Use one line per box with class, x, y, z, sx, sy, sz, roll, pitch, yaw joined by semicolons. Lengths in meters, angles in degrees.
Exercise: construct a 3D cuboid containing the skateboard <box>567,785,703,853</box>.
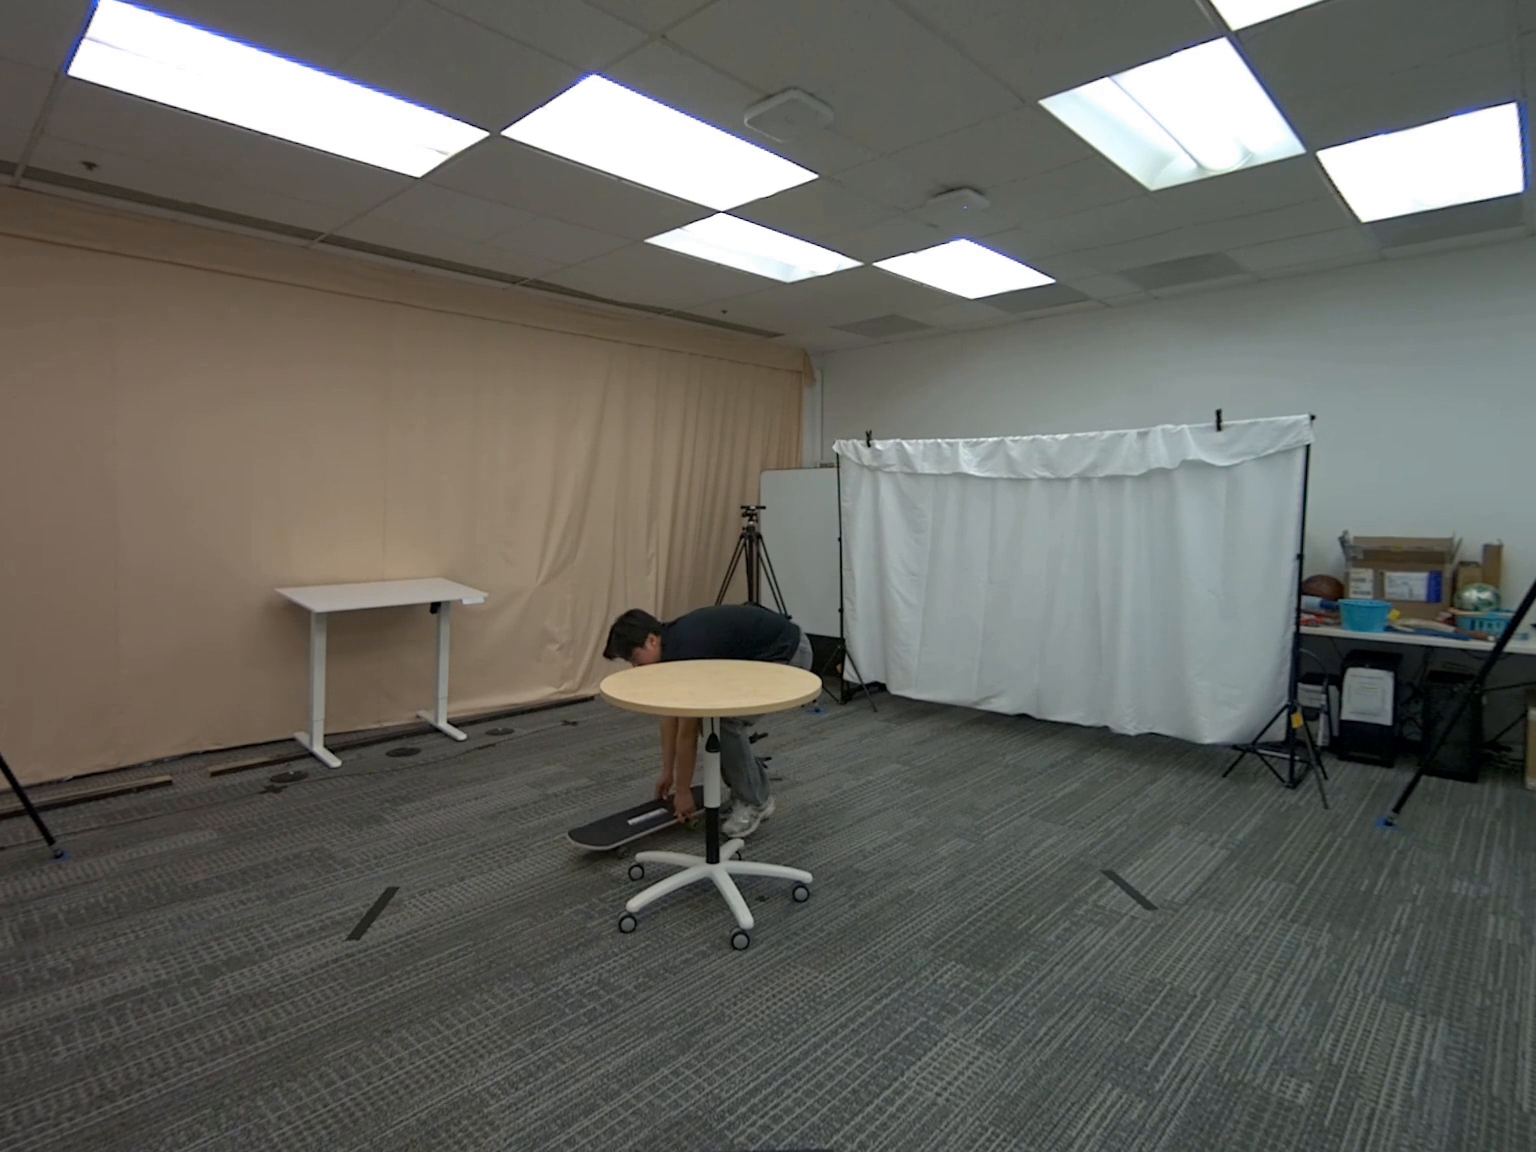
skateboard;-0.506;1.041;3.521;0.200;0.110;0.761;13;12;41
